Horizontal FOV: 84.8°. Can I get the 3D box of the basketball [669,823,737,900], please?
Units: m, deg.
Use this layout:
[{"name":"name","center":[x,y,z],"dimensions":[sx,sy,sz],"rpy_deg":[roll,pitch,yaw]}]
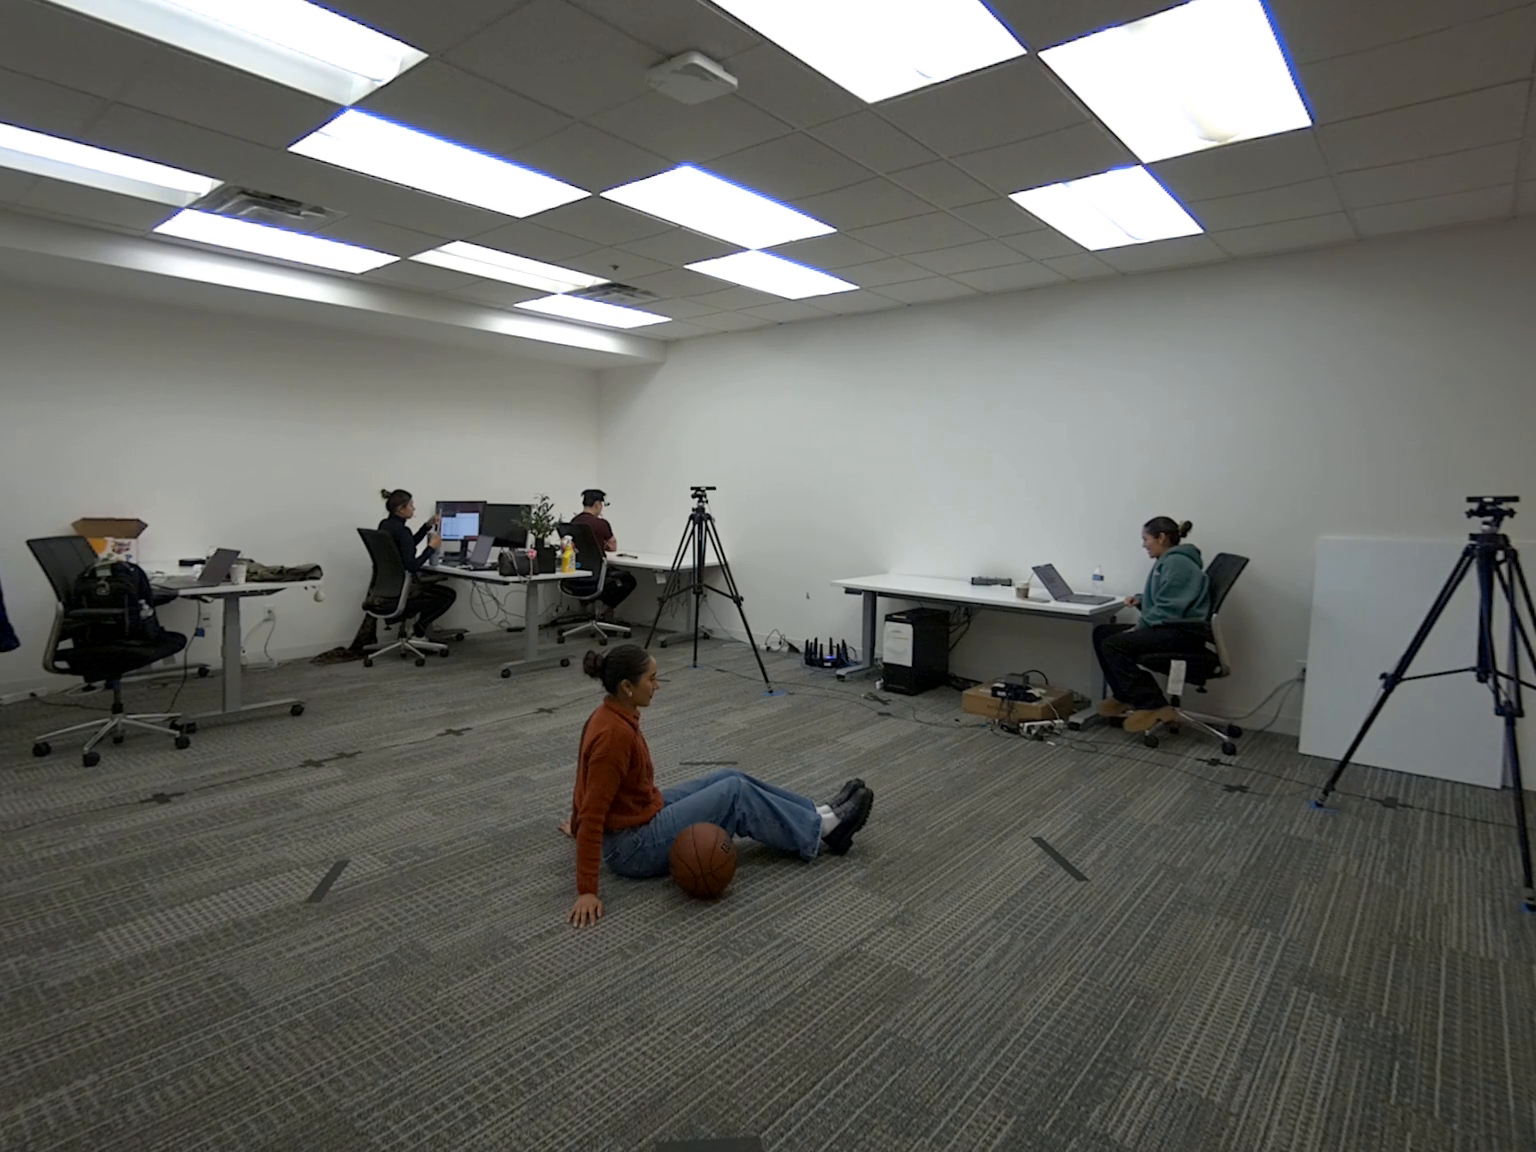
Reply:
[{"name":"basketball","center":[-0.229,0.963,2.907],"dimensions":[0.235,0.235,0.237],"rpy_deg":[1,4,-2]}]
